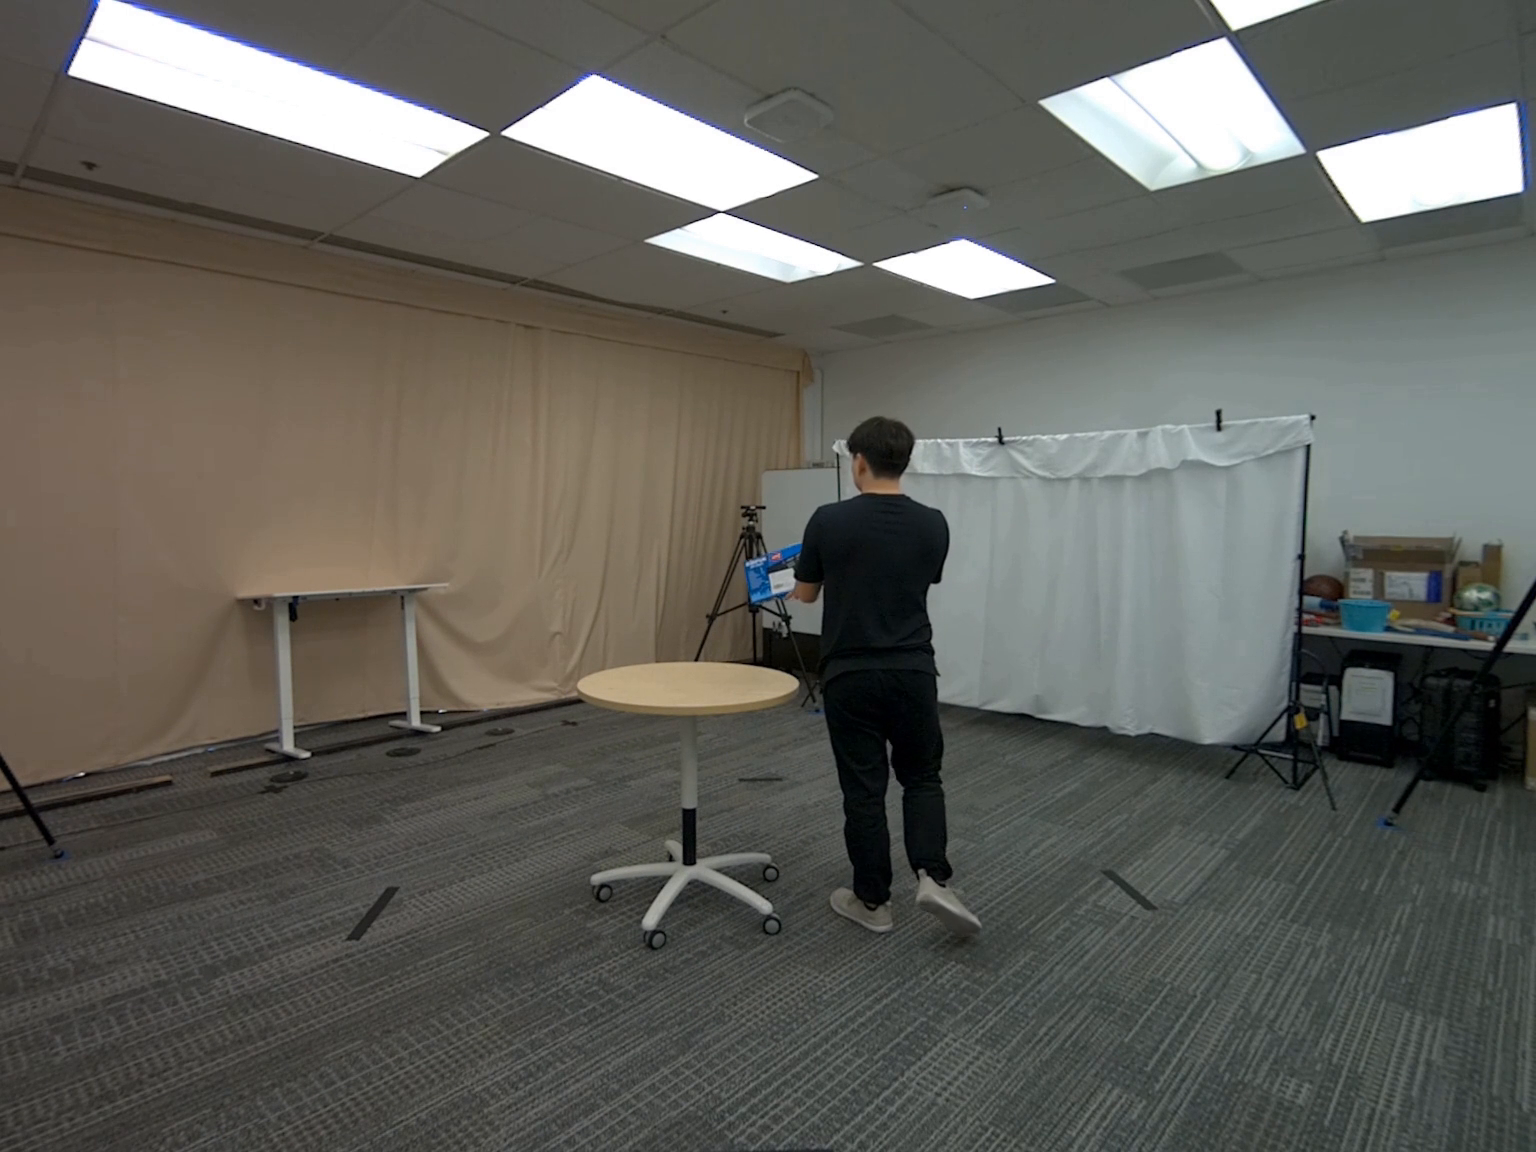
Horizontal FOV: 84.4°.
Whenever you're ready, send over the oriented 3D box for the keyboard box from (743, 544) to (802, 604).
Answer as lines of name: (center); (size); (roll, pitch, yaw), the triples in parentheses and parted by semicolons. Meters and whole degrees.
keyboard box: (0.127, -0.032, 3.223); (0.444, 0.178, 0.057); (-18, -16, 22)
